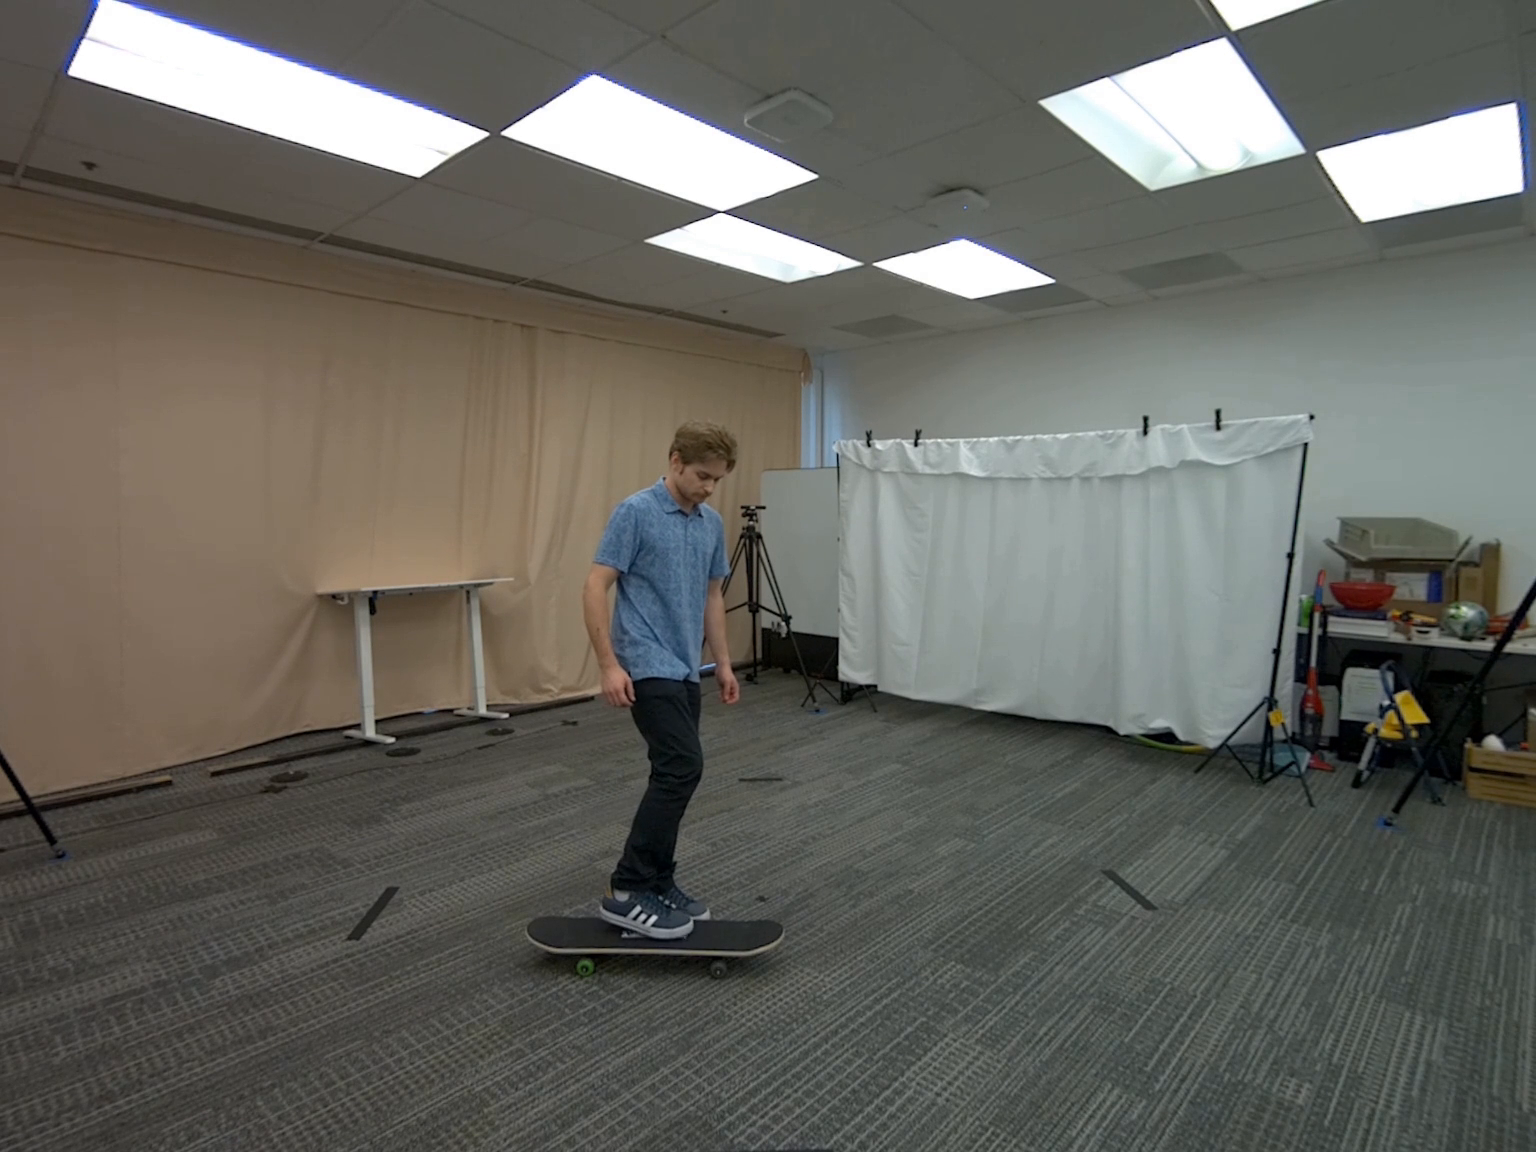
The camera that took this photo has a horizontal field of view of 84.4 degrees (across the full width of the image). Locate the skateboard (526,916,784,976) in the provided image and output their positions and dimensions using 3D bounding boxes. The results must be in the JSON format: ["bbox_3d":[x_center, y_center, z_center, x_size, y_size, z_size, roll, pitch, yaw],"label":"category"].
[{"bbox_3d":[-0.342,1.124,2.567,0.788,0.110,0.193,0,3,3],"label":"skateboard"}]
